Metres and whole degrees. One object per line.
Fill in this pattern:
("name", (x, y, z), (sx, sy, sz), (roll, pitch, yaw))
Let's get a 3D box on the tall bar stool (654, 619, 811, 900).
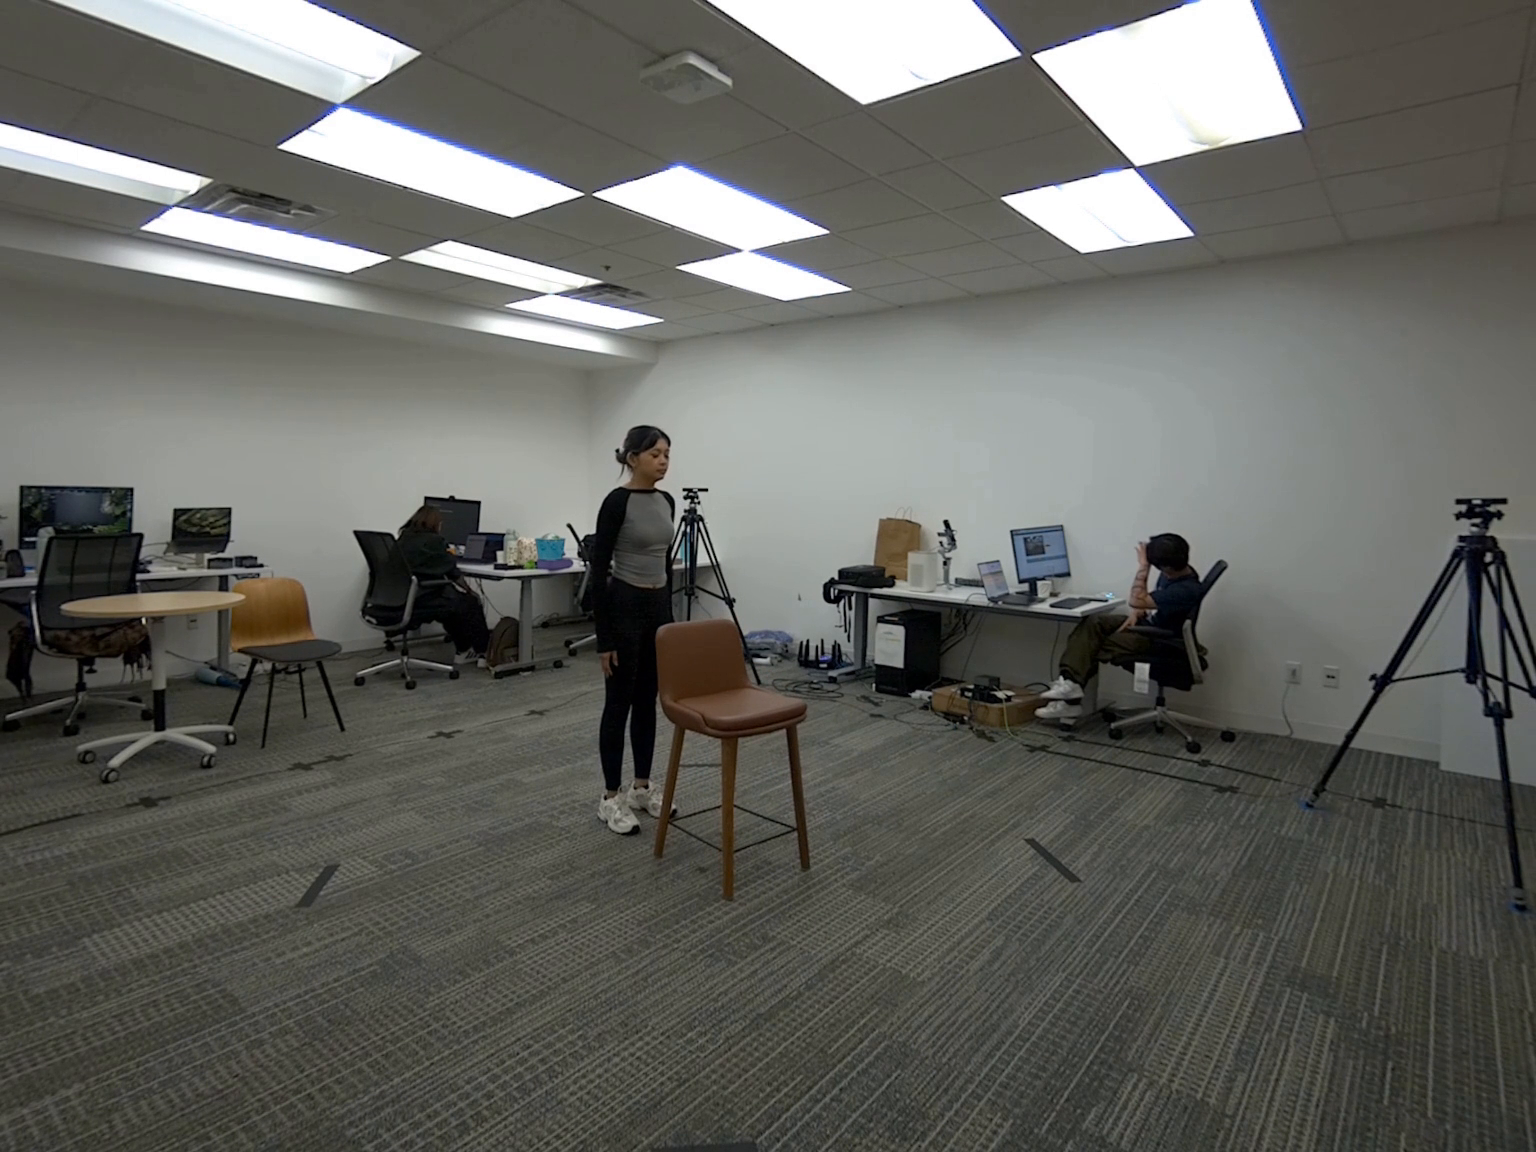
("tall bar stool", (-0.148, 0.627, 3.156), (0.442, 0.889, 0.482), (-2, 1, -42))
